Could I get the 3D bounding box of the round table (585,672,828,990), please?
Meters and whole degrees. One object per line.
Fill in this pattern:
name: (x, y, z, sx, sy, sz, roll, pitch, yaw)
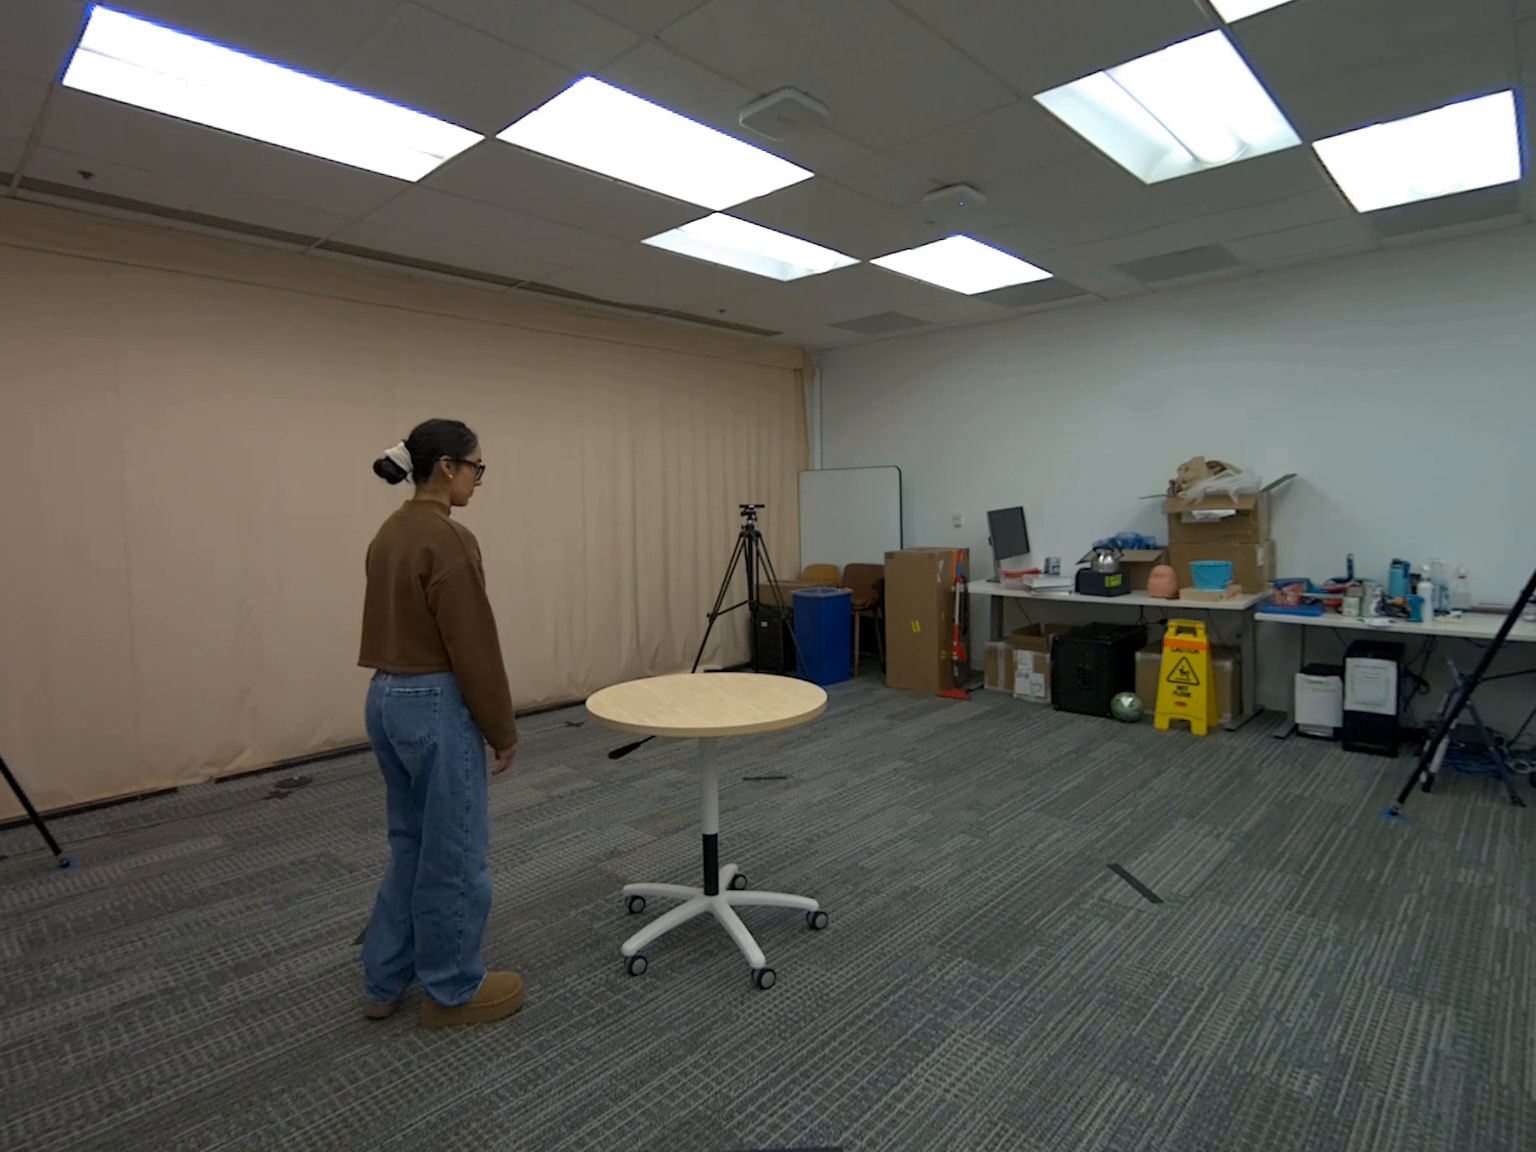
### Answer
round table: (-0.183, 0.781, 2.707, 0.763, 0.792, 0.767, -2, 4, -2)
